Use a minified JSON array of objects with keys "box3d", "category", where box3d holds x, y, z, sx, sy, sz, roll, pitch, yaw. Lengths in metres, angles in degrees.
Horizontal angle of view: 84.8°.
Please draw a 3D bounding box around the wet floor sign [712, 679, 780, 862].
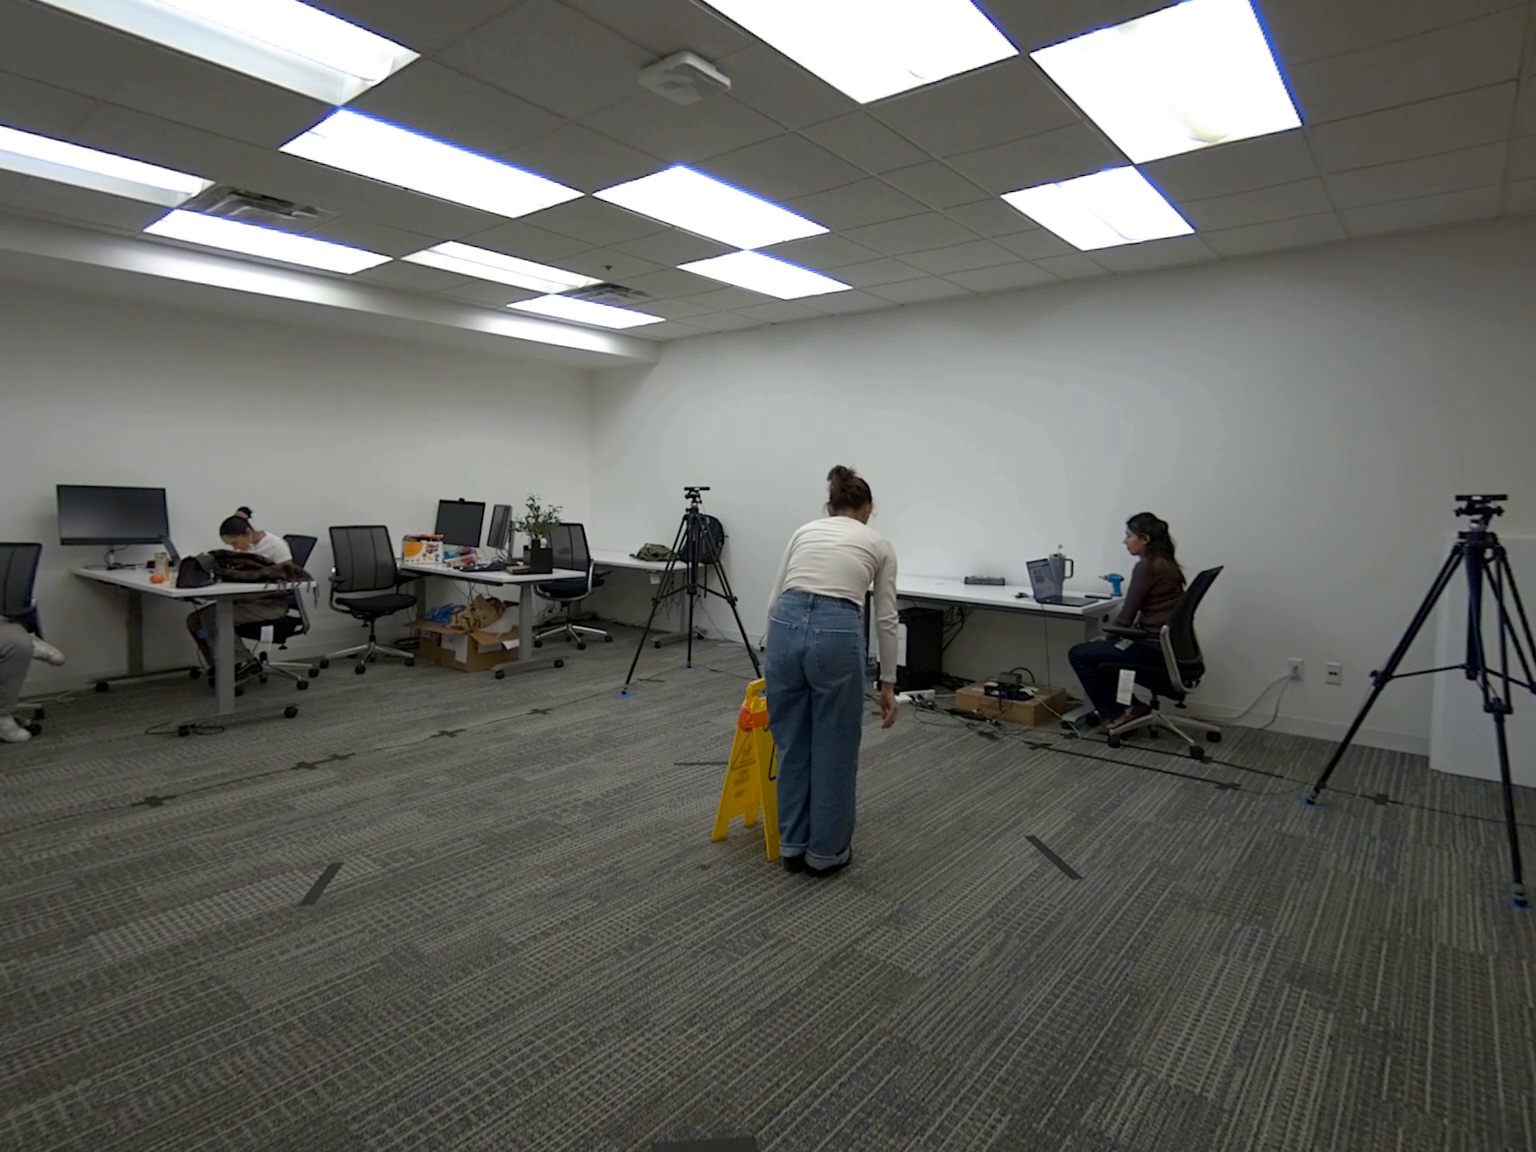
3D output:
[{"box3d":[-0.025,0.721,3.349,0.299,0.644,0.274,4,4,37],"category":"wet floor sign"}]
